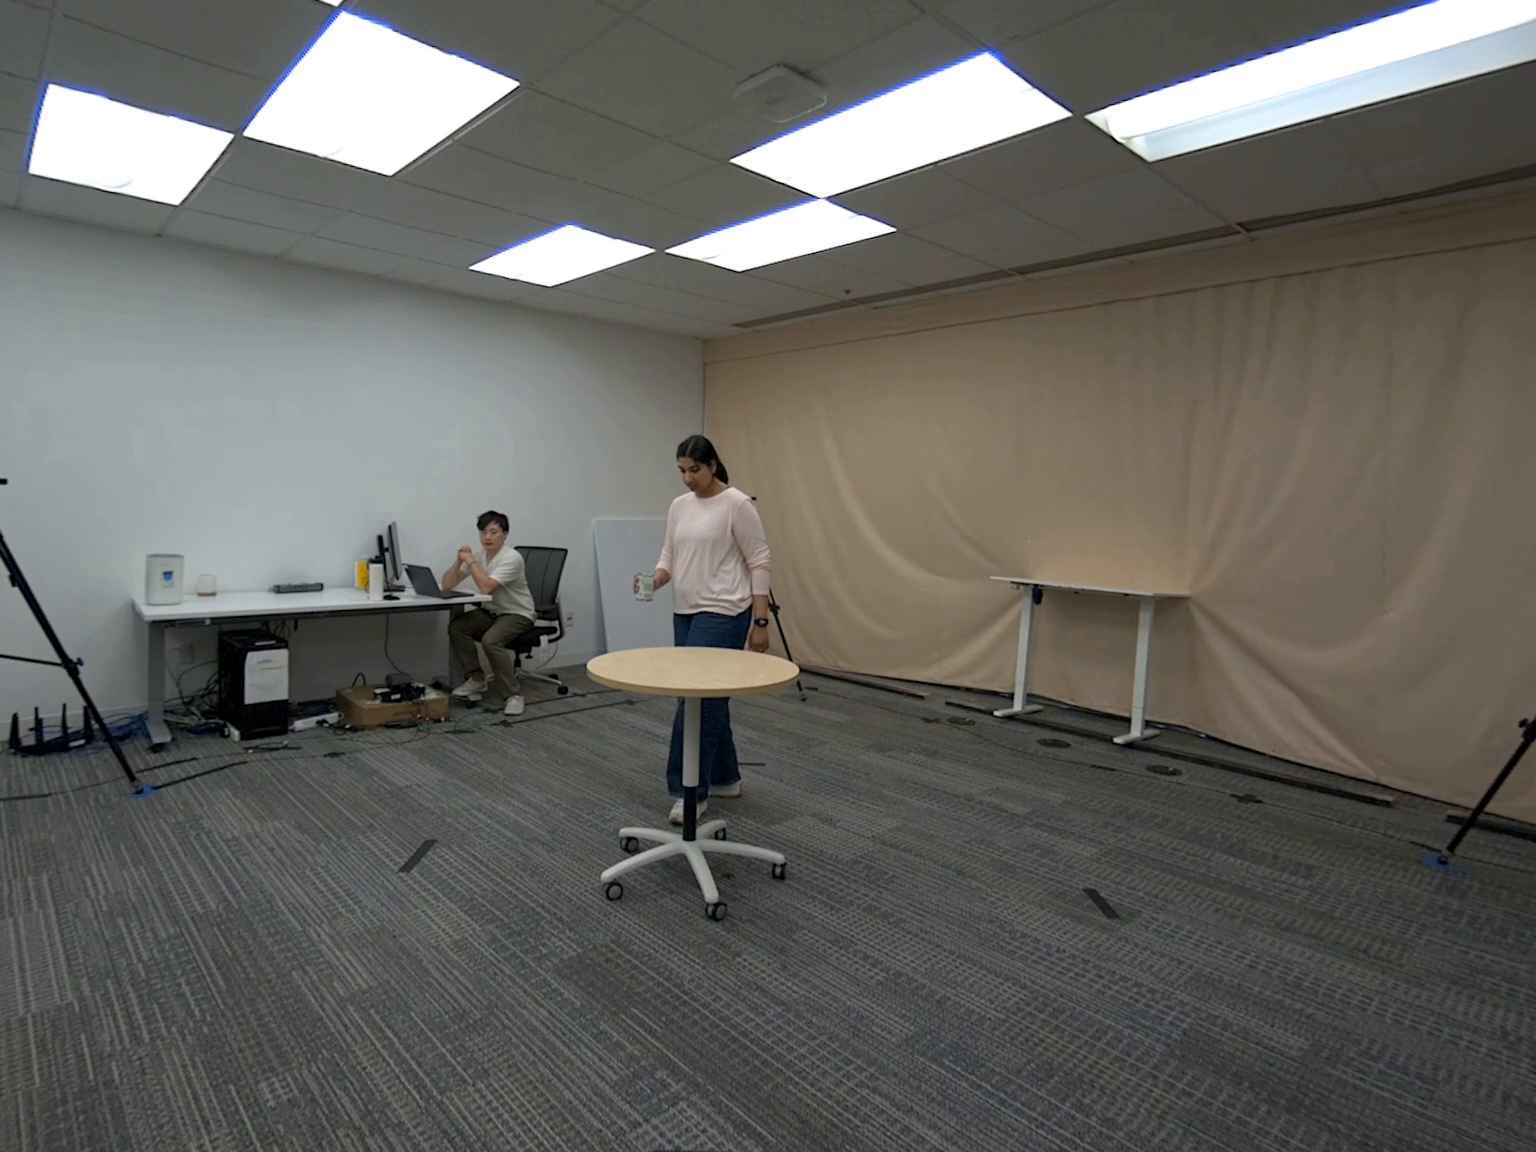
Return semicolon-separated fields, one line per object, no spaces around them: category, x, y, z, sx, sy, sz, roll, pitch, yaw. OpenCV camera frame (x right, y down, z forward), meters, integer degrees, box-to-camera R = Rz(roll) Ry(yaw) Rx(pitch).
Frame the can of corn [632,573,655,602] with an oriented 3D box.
can of corn;-0.544;0.047;3.656;0.074;0.111;0.074;1;0;-1
